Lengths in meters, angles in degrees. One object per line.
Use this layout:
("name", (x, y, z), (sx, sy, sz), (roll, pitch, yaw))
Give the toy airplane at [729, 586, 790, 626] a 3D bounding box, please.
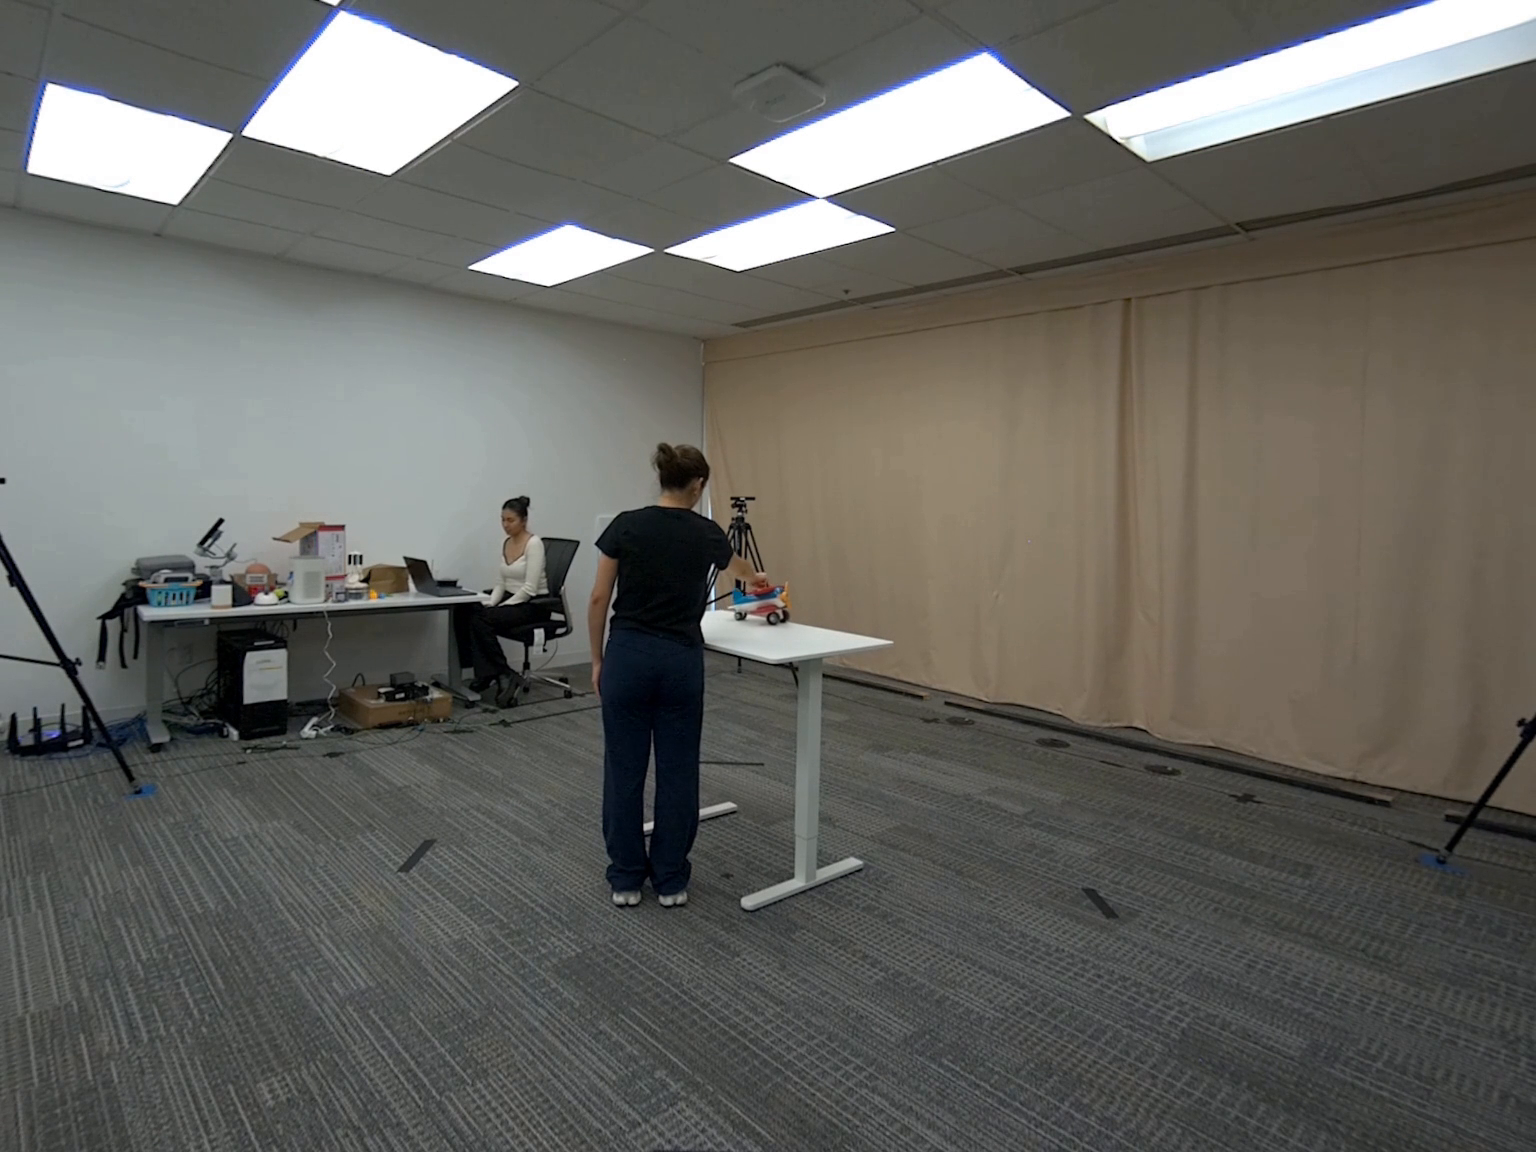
("toy airplane", (-0.043, 0.117, 3.459), (0.259, 0.156, 0.252), (3, 5, -1))
